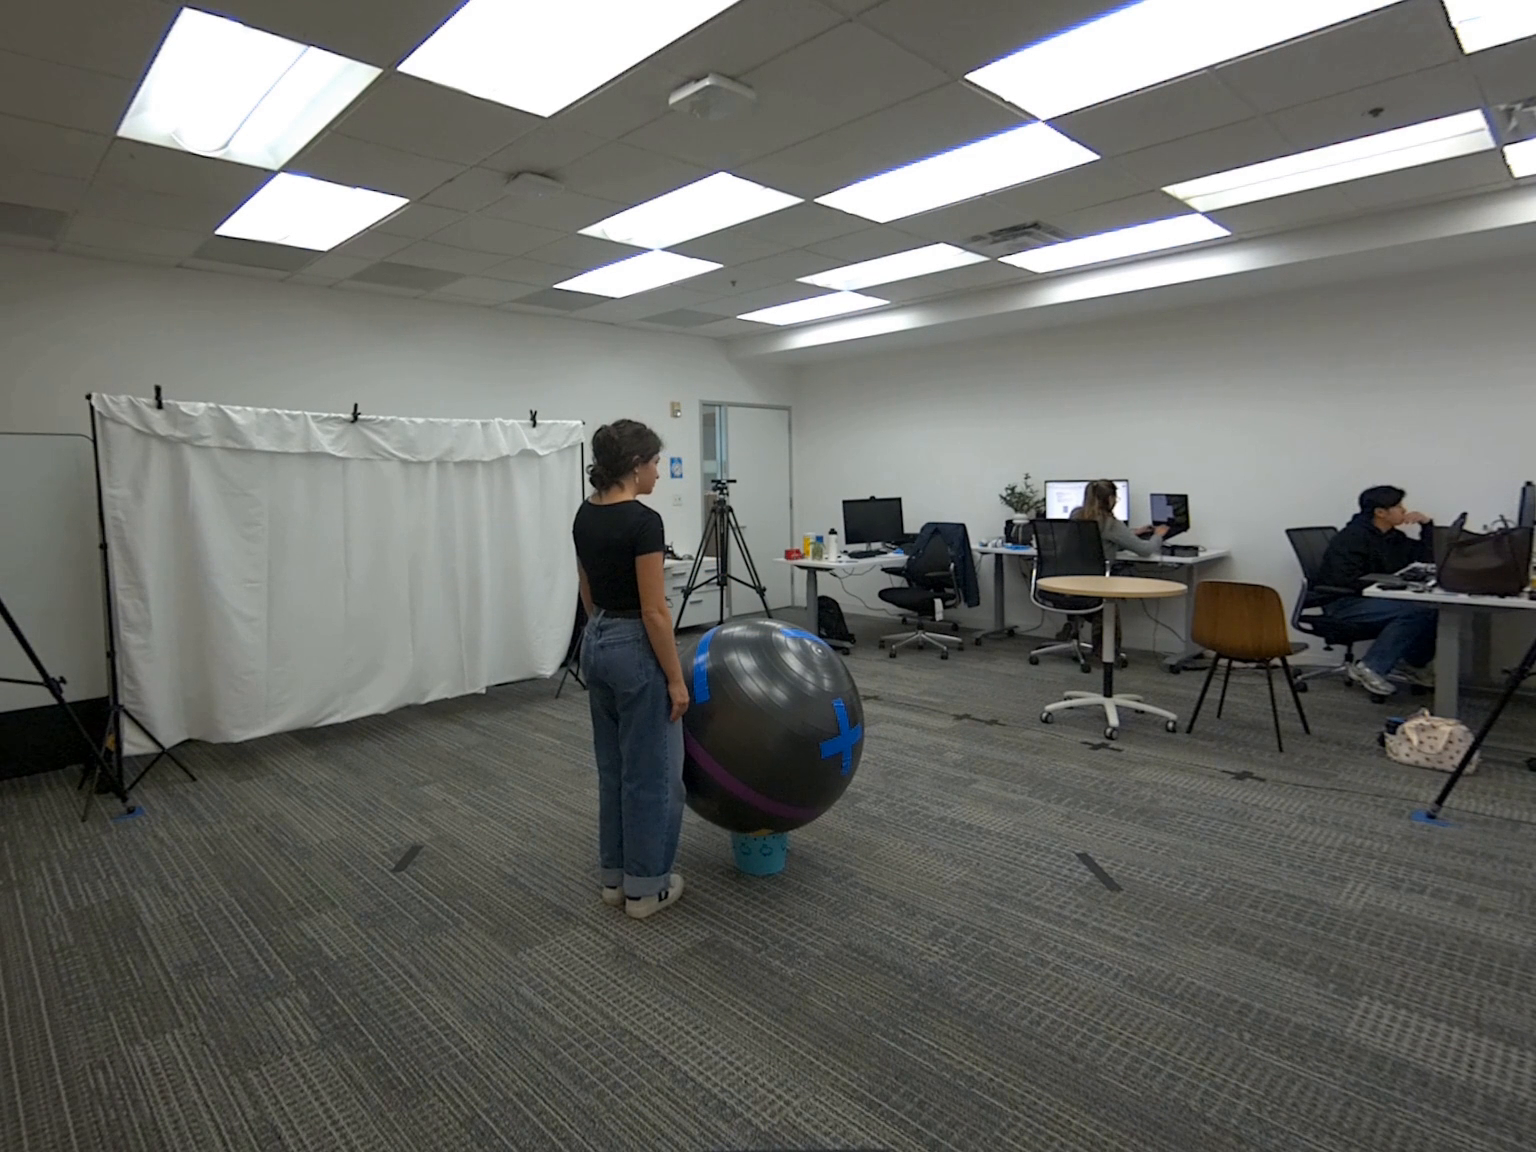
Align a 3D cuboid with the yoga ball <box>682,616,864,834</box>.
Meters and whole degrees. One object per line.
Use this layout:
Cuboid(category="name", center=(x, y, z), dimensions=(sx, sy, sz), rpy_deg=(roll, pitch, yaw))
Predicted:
Cuboid(category="yoga ball", center=(-0.032, 0.537, 3.086), dimensions=(0.757, 0.755, 0.762), rpy_deg=(-1, 5, -2))
